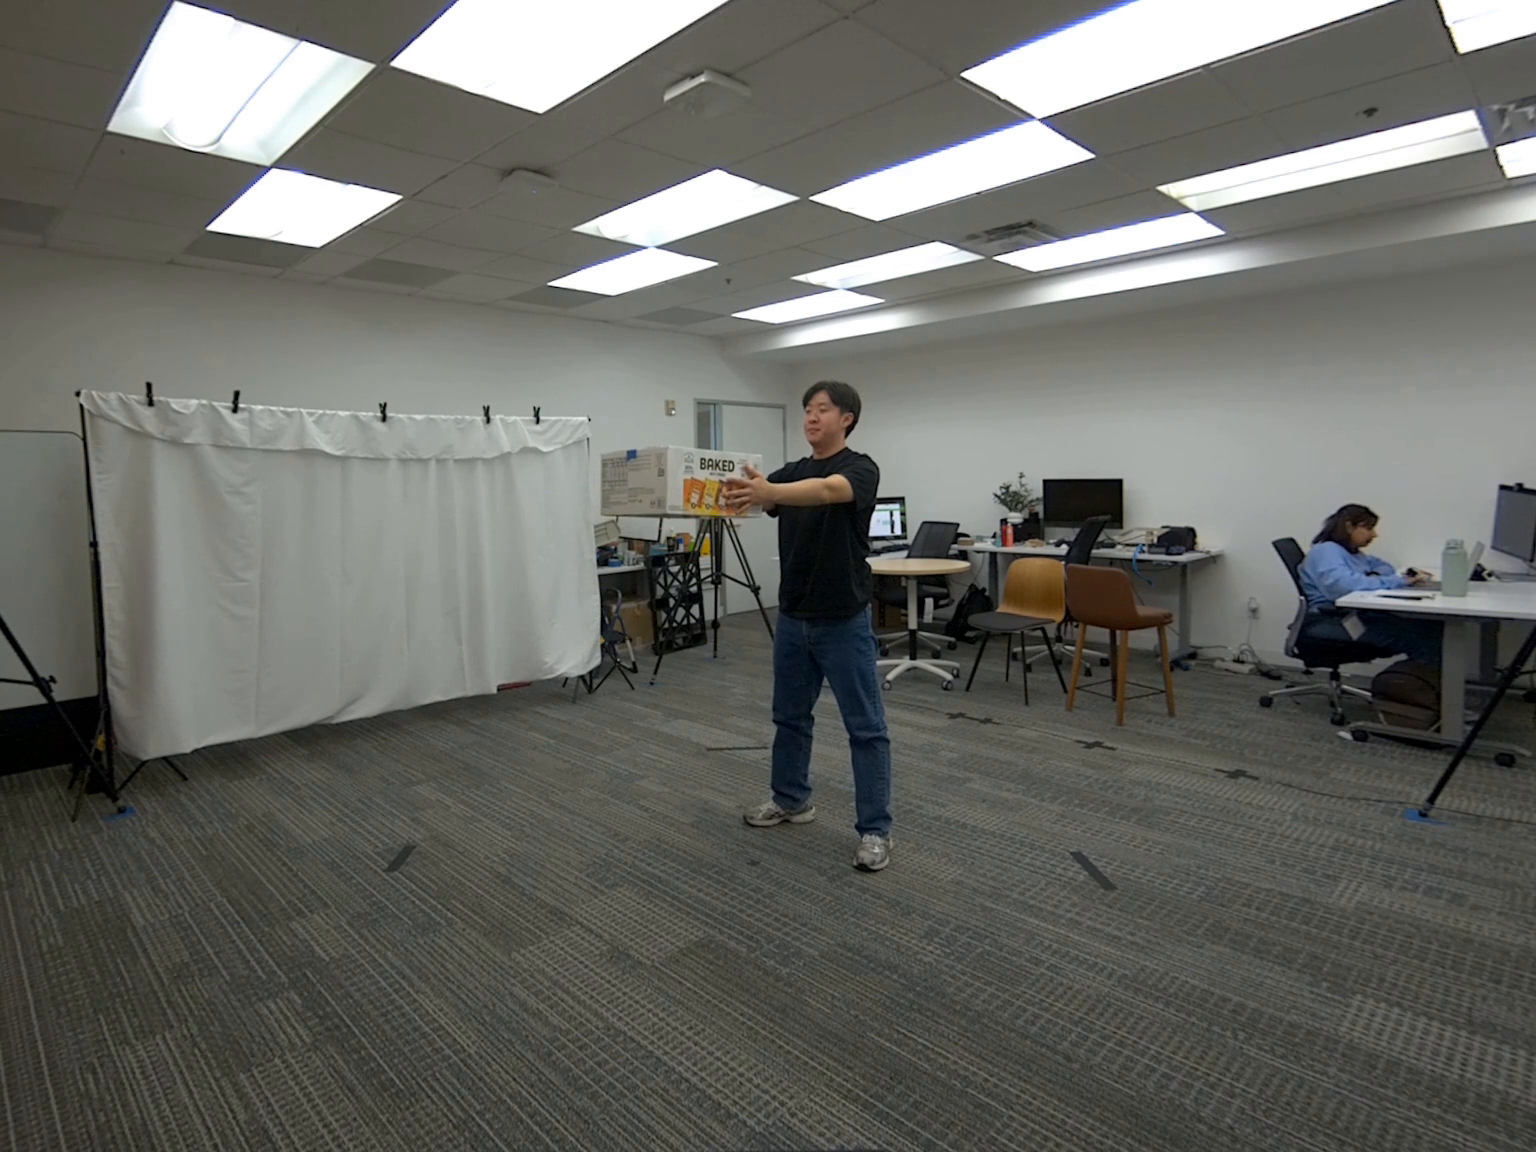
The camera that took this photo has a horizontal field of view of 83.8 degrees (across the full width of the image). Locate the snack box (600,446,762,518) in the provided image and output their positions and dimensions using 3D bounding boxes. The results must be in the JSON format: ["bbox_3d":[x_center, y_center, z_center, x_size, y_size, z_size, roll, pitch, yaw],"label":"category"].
[{"bbox_3d":[-0.277,-0.293,2.758,0.350,0.205,0.393,2,3,45],"label":"snack box"}]
